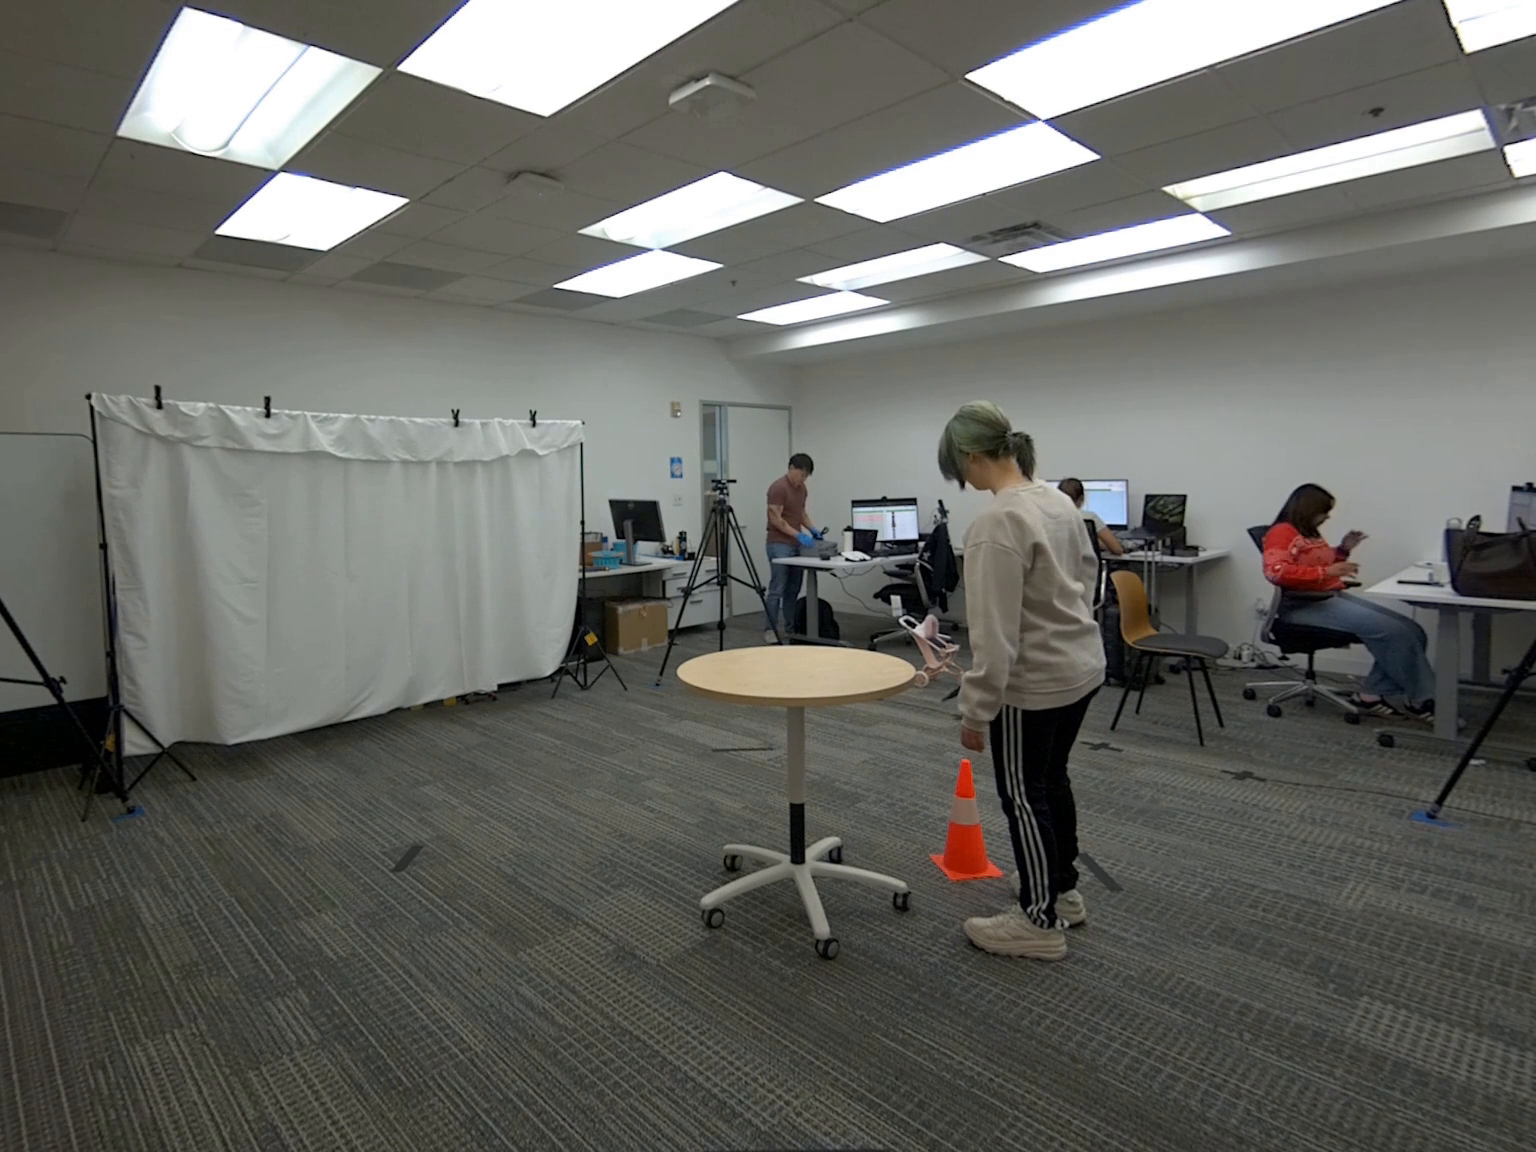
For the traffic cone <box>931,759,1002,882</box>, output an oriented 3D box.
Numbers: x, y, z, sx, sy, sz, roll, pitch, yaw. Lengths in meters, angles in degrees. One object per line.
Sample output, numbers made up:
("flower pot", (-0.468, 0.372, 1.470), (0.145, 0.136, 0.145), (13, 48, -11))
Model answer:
("traffic cone", (0.718, 0.858, 3.052), (0.203, 0.382, 0.206), (0, 5, -11))
